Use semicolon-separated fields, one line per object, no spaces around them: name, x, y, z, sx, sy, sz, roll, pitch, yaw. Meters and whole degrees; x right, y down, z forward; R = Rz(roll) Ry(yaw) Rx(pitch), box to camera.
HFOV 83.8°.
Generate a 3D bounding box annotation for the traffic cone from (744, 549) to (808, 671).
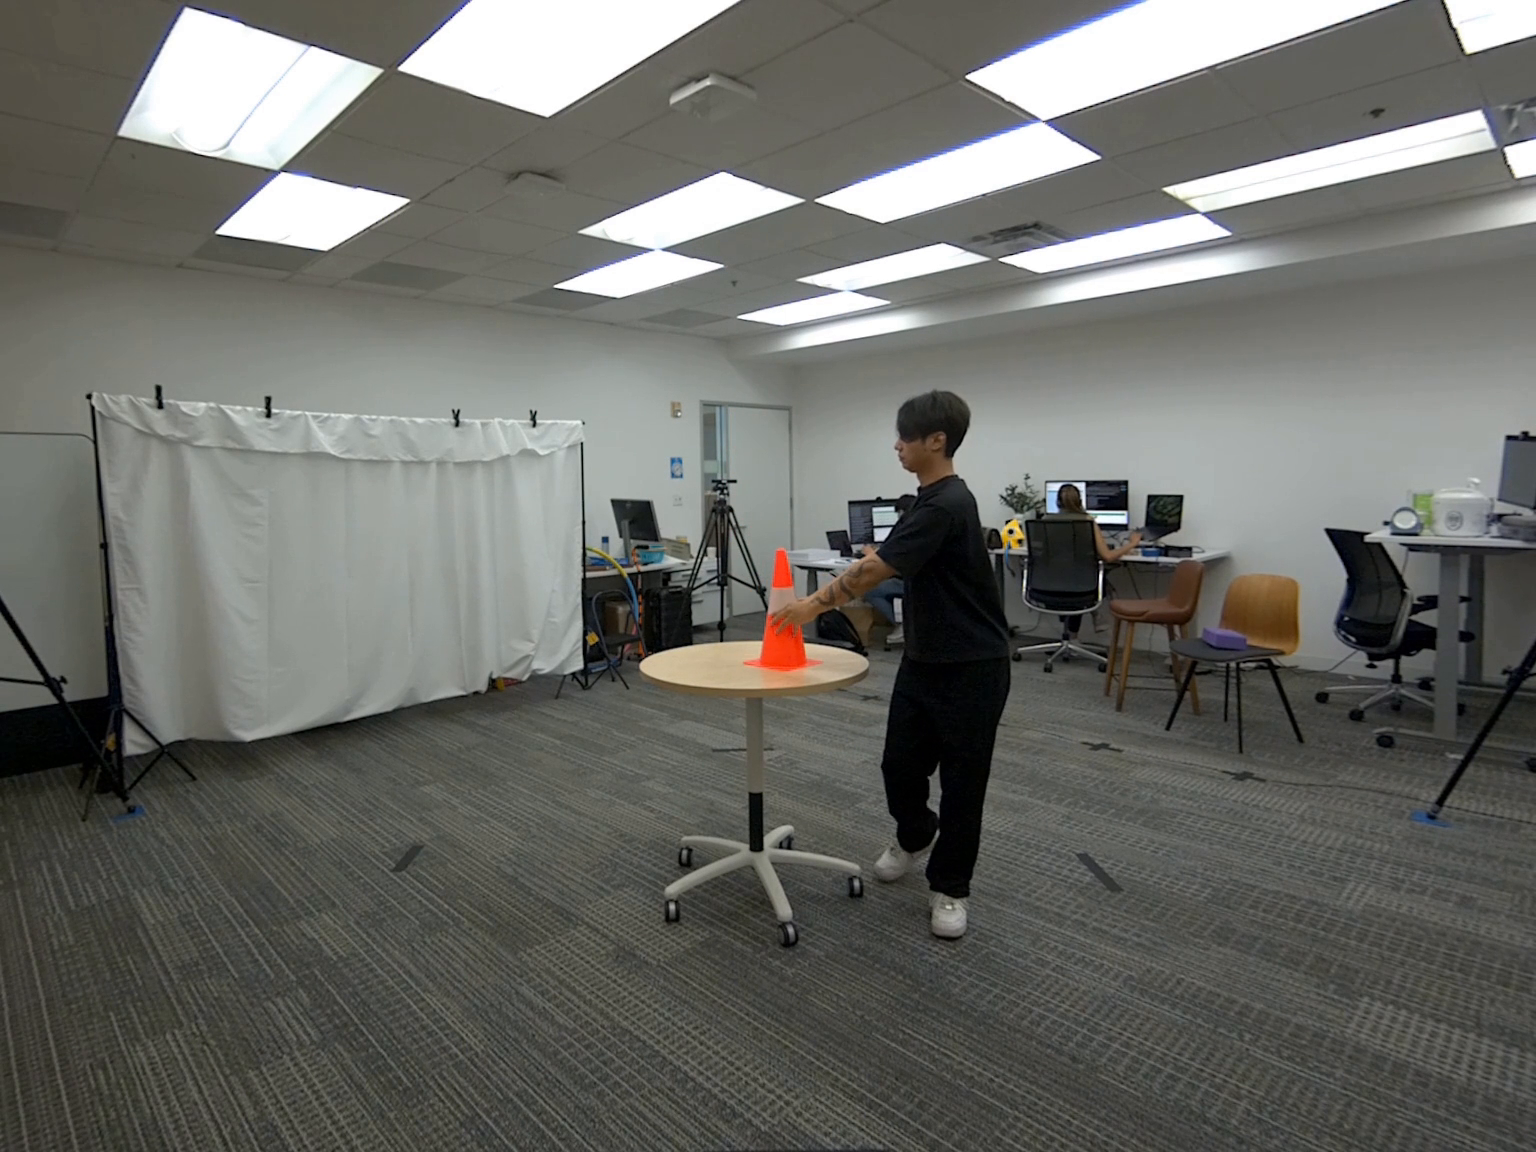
traffic cone;0.049;0.102;2.833;0.199;0.382;0.209;-6;5;-45
